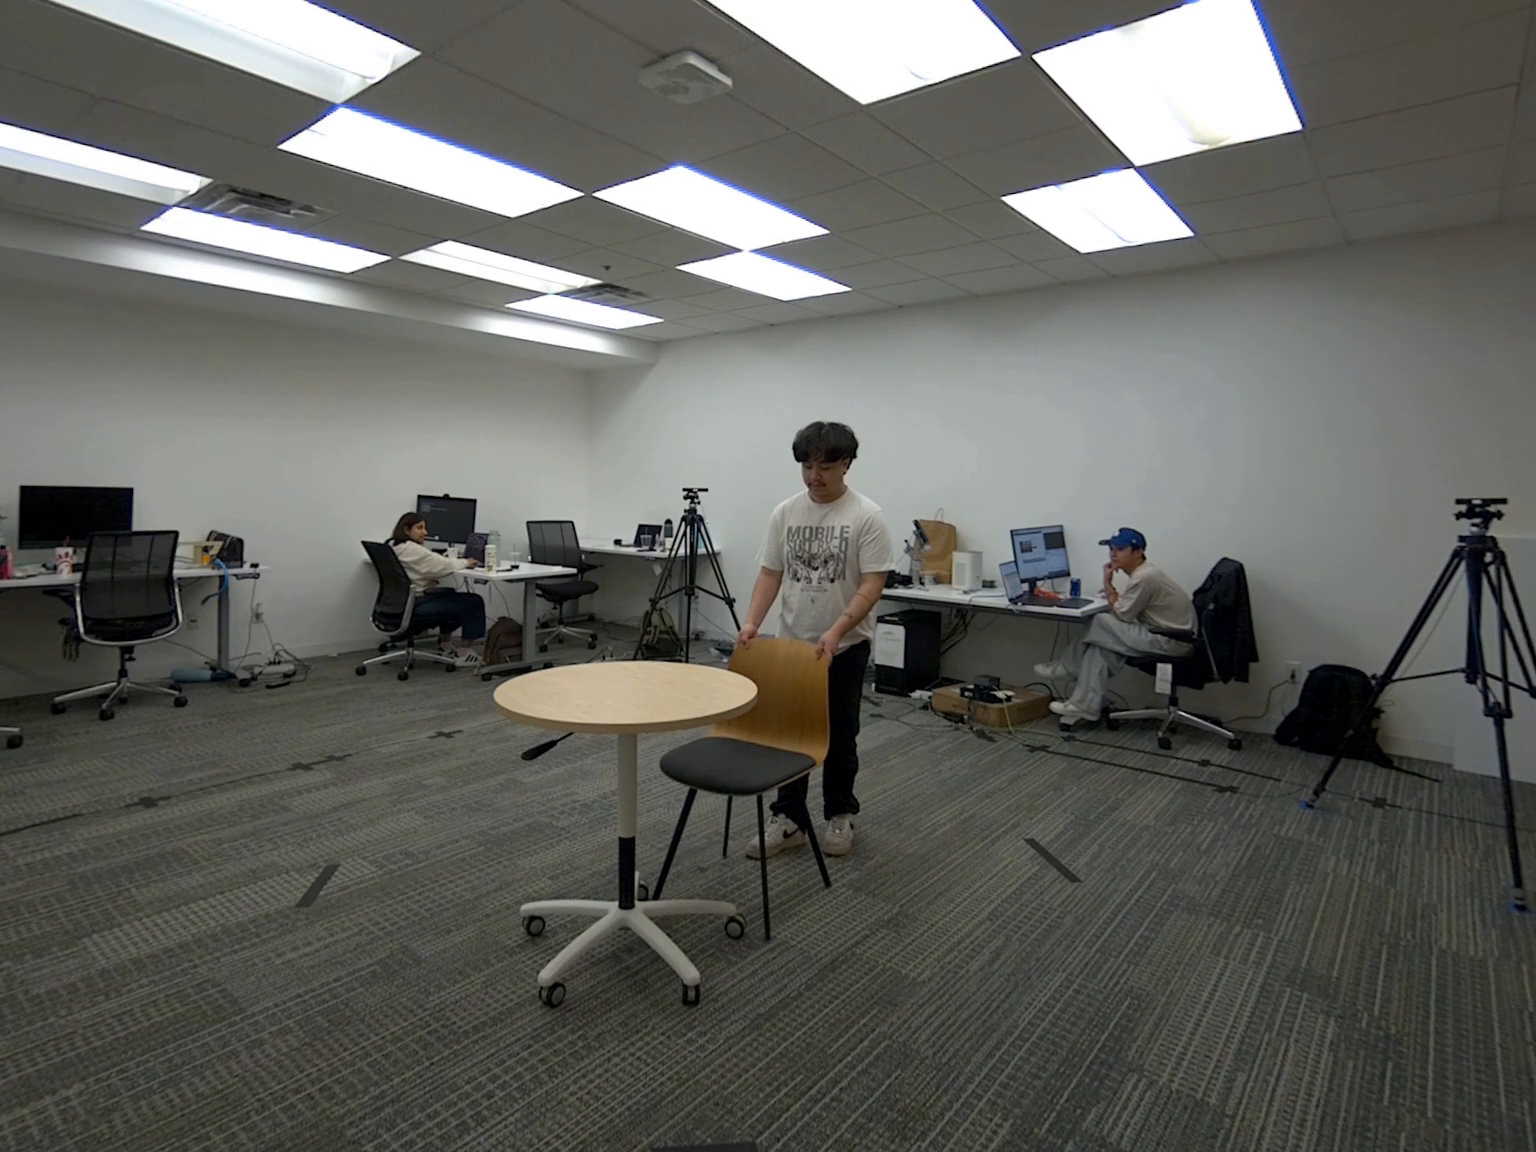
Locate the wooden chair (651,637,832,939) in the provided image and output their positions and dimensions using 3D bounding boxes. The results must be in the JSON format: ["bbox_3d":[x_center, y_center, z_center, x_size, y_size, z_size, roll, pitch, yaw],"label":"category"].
[{"bbox_3d":[-0.083,0.664,2.896,0.493,0.878,0.507,4,0,31],"label":"wooden chair"}]
